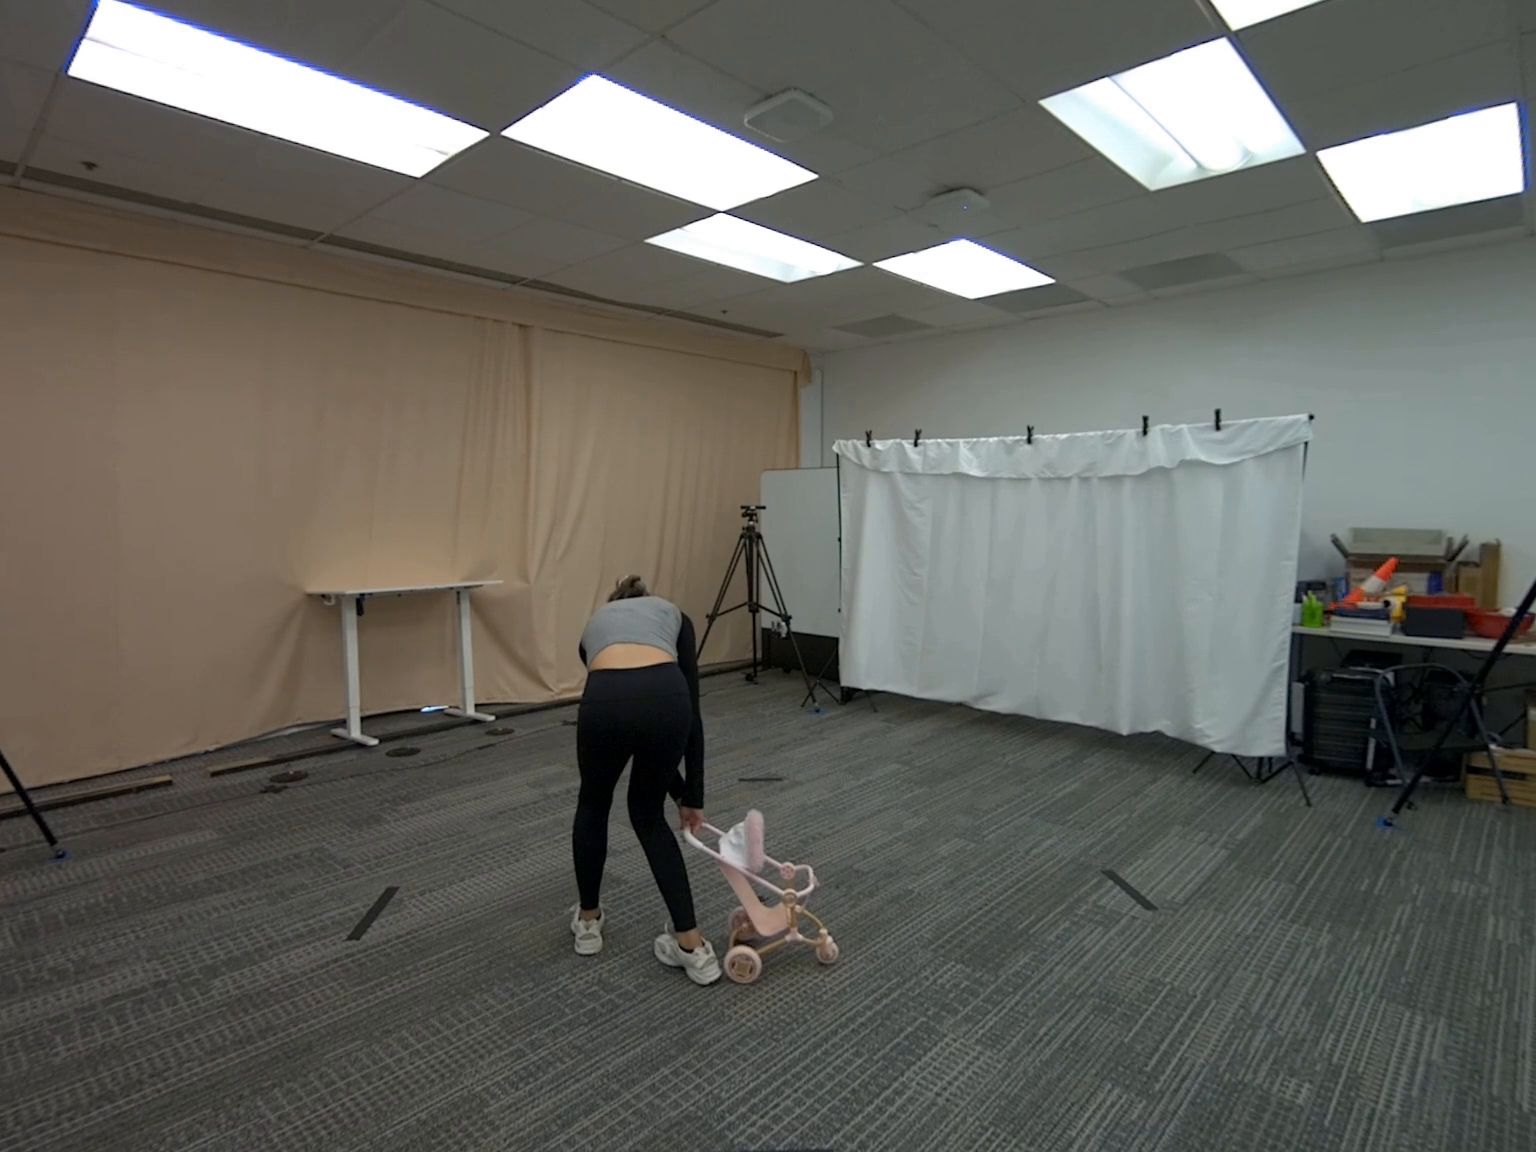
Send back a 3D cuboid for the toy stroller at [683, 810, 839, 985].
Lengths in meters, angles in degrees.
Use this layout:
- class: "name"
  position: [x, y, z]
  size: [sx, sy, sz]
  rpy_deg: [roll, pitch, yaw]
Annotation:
- class: "toy stroller"
  position: [-0.008, 0.960, 2.555]
  size: [0.344, 0.534, 0.280]
  rpy_deg: [-17, 1, 7]
